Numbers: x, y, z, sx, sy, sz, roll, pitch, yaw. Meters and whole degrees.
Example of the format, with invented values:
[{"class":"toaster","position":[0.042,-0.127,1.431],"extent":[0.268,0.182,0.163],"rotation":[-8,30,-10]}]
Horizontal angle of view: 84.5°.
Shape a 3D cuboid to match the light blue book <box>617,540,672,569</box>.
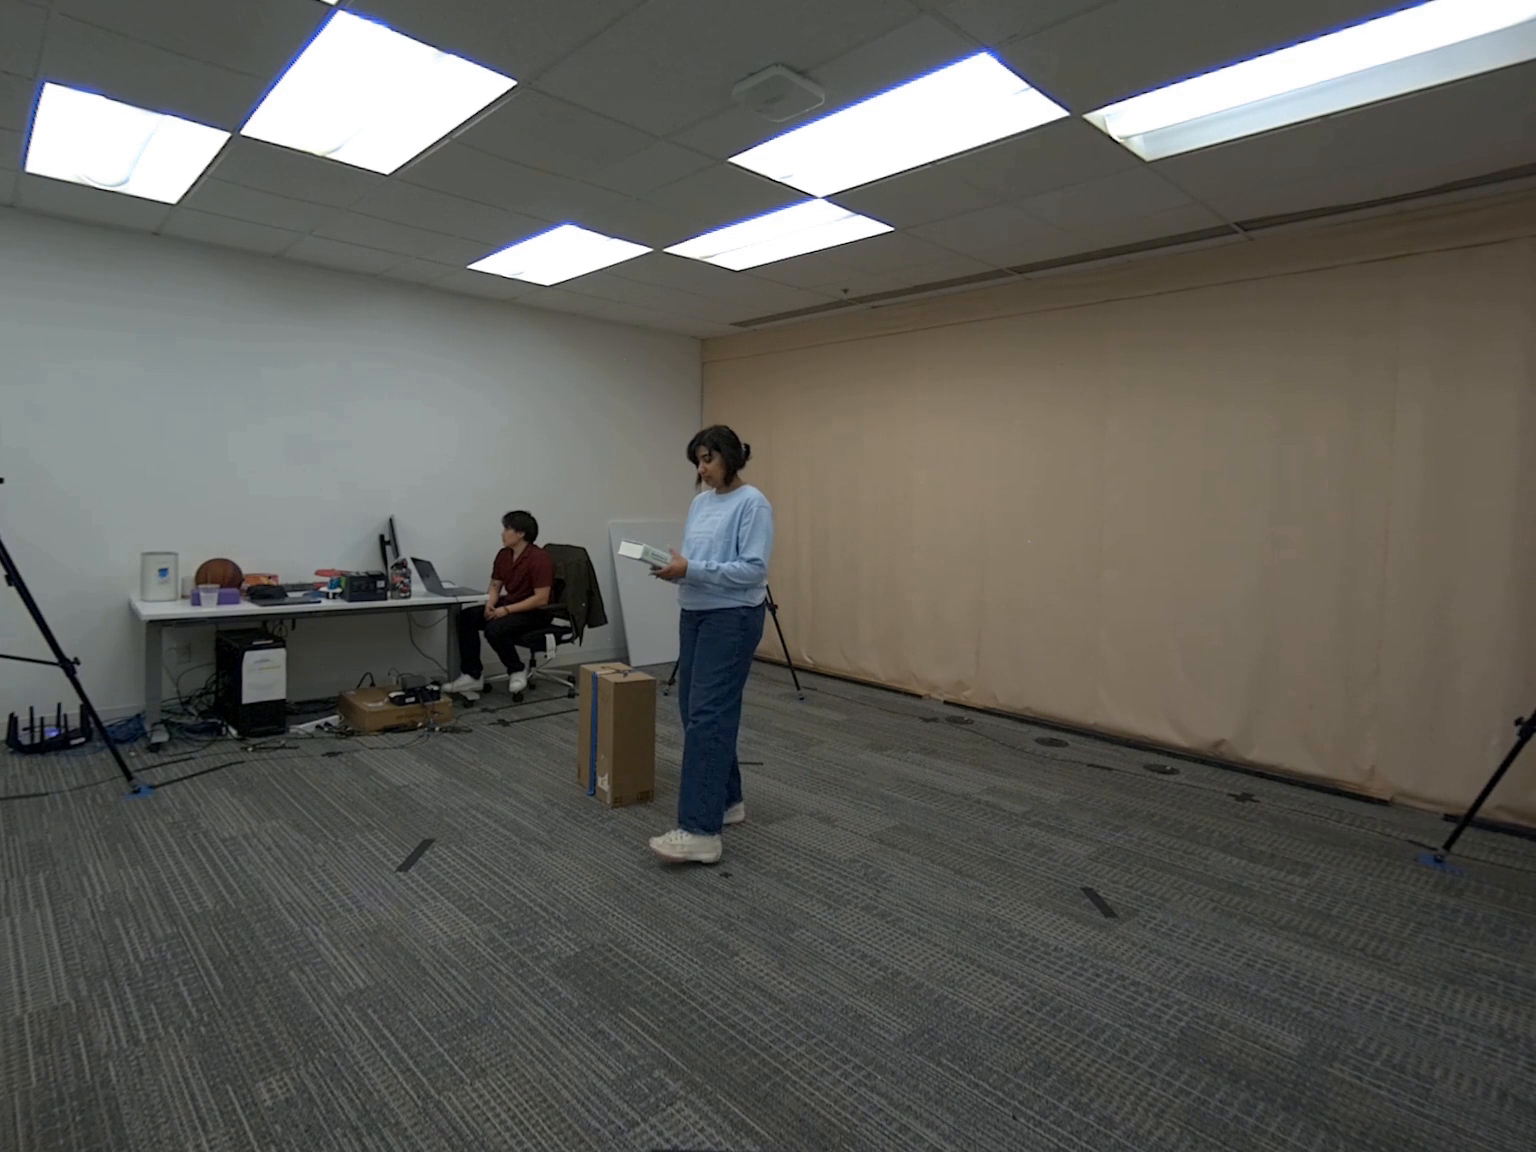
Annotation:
[{"class":"light blue book","position":[-0.449,-0.067,3.327],"extent":[0.253,0.059,0.196],"rotation":[24,-8,-37]}]
